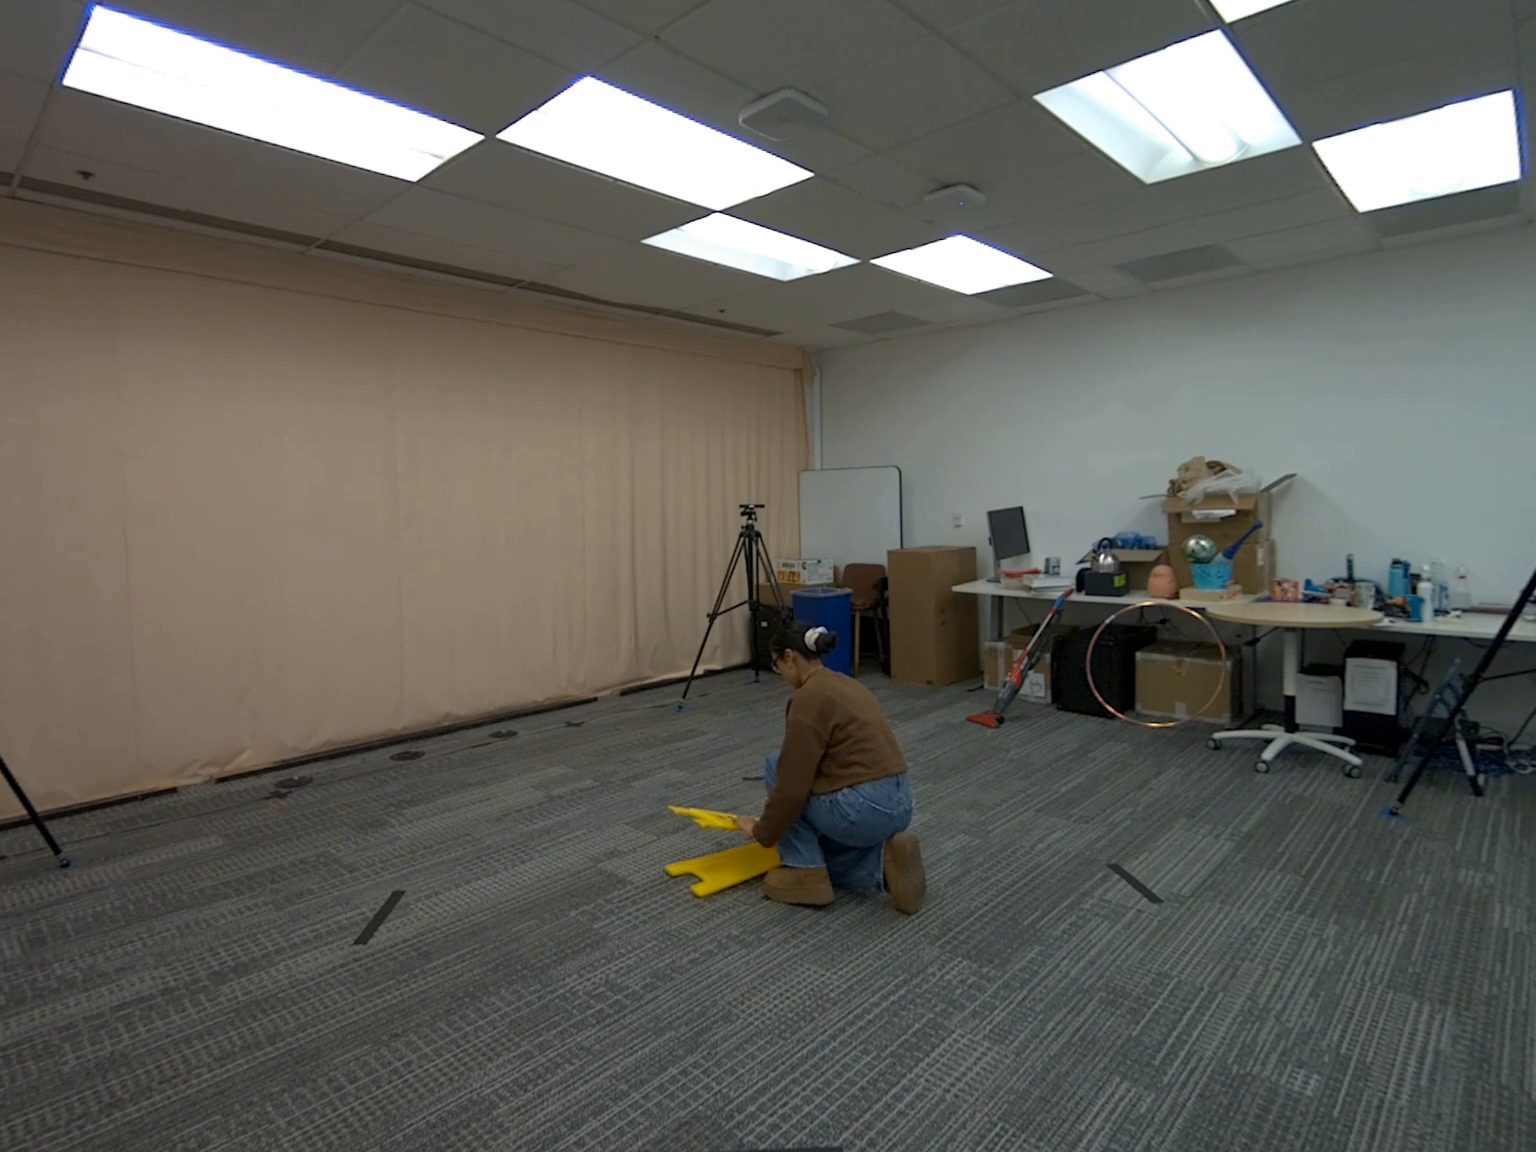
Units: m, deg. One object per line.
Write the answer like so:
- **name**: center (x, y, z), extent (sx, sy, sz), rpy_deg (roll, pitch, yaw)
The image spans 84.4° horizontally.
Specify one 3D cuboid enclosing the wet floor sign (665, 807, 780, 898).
- **wet floor sign**: center (-0.048, 1.032, 3.269), extent (0.627, 0.290, 0.290), rpy_deg (5, -2, -32)
